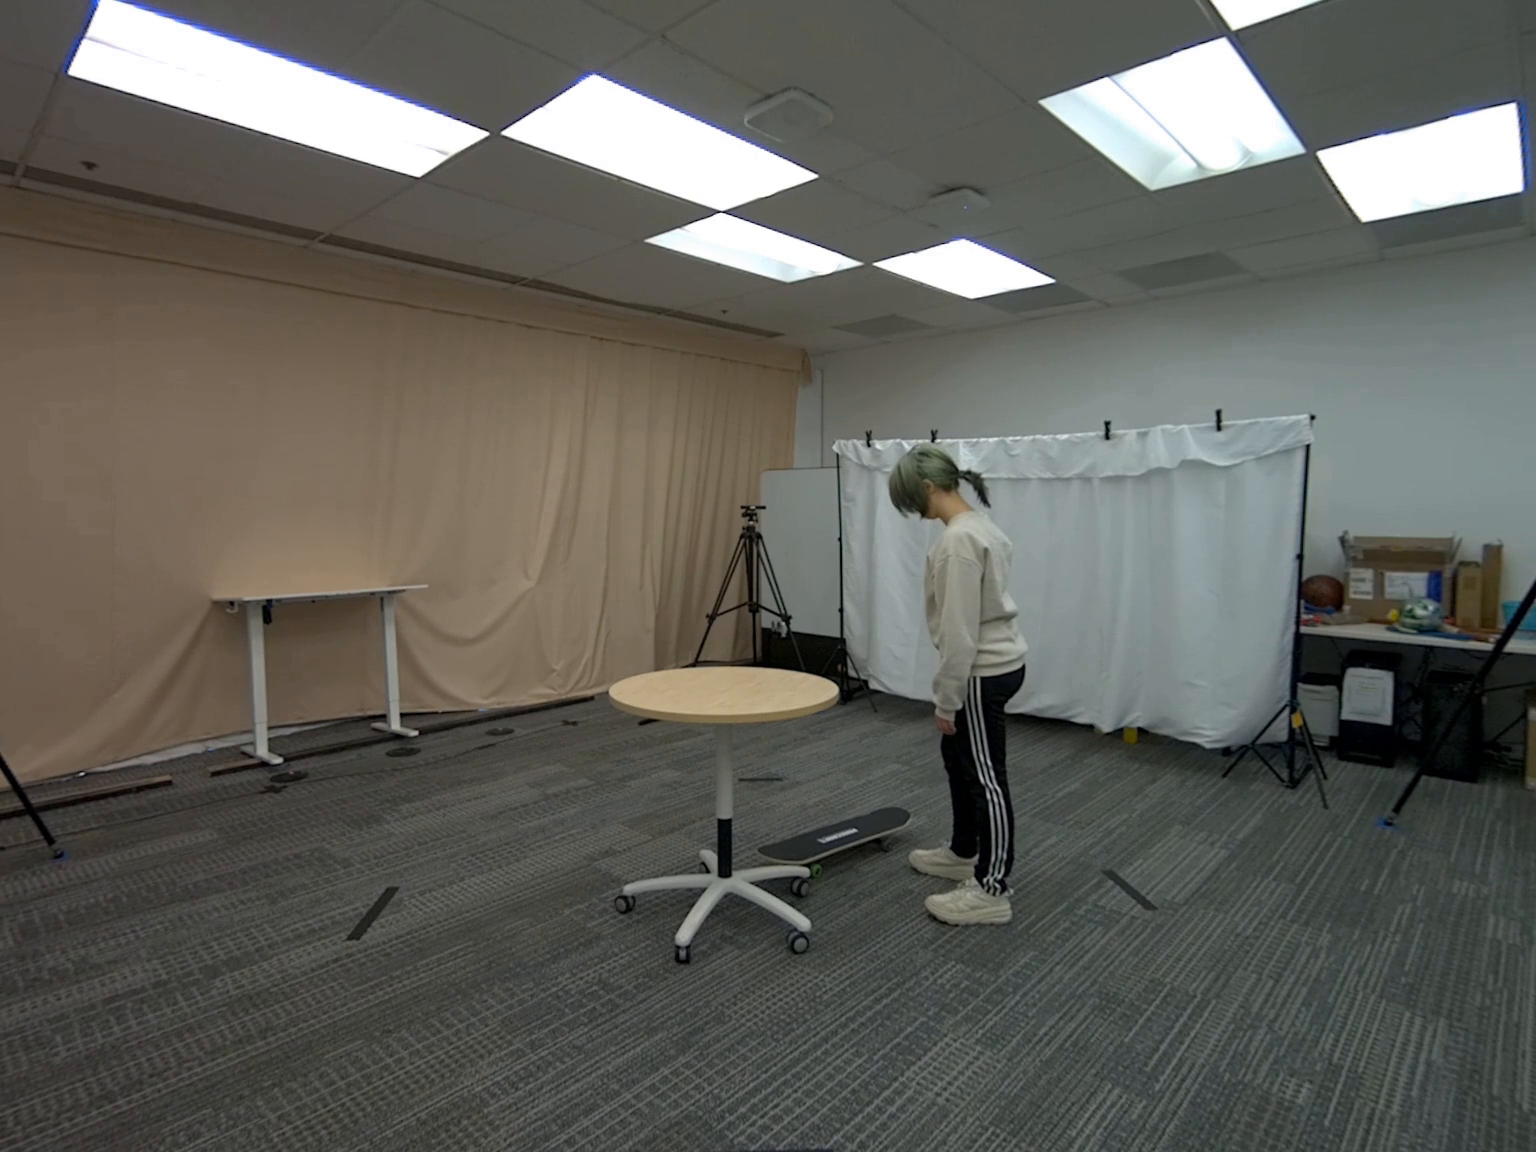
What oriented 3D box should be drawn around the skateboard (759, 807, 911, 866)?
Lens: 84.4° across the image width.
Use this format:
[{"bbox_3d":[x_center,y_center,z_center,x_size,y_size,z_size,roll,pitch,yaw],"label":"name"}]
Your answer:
[{"bbox_3d":[0.281,1.058,3.320,0.762,0.110,0.200,-4,6,-39],"label":"skateboard"}]
